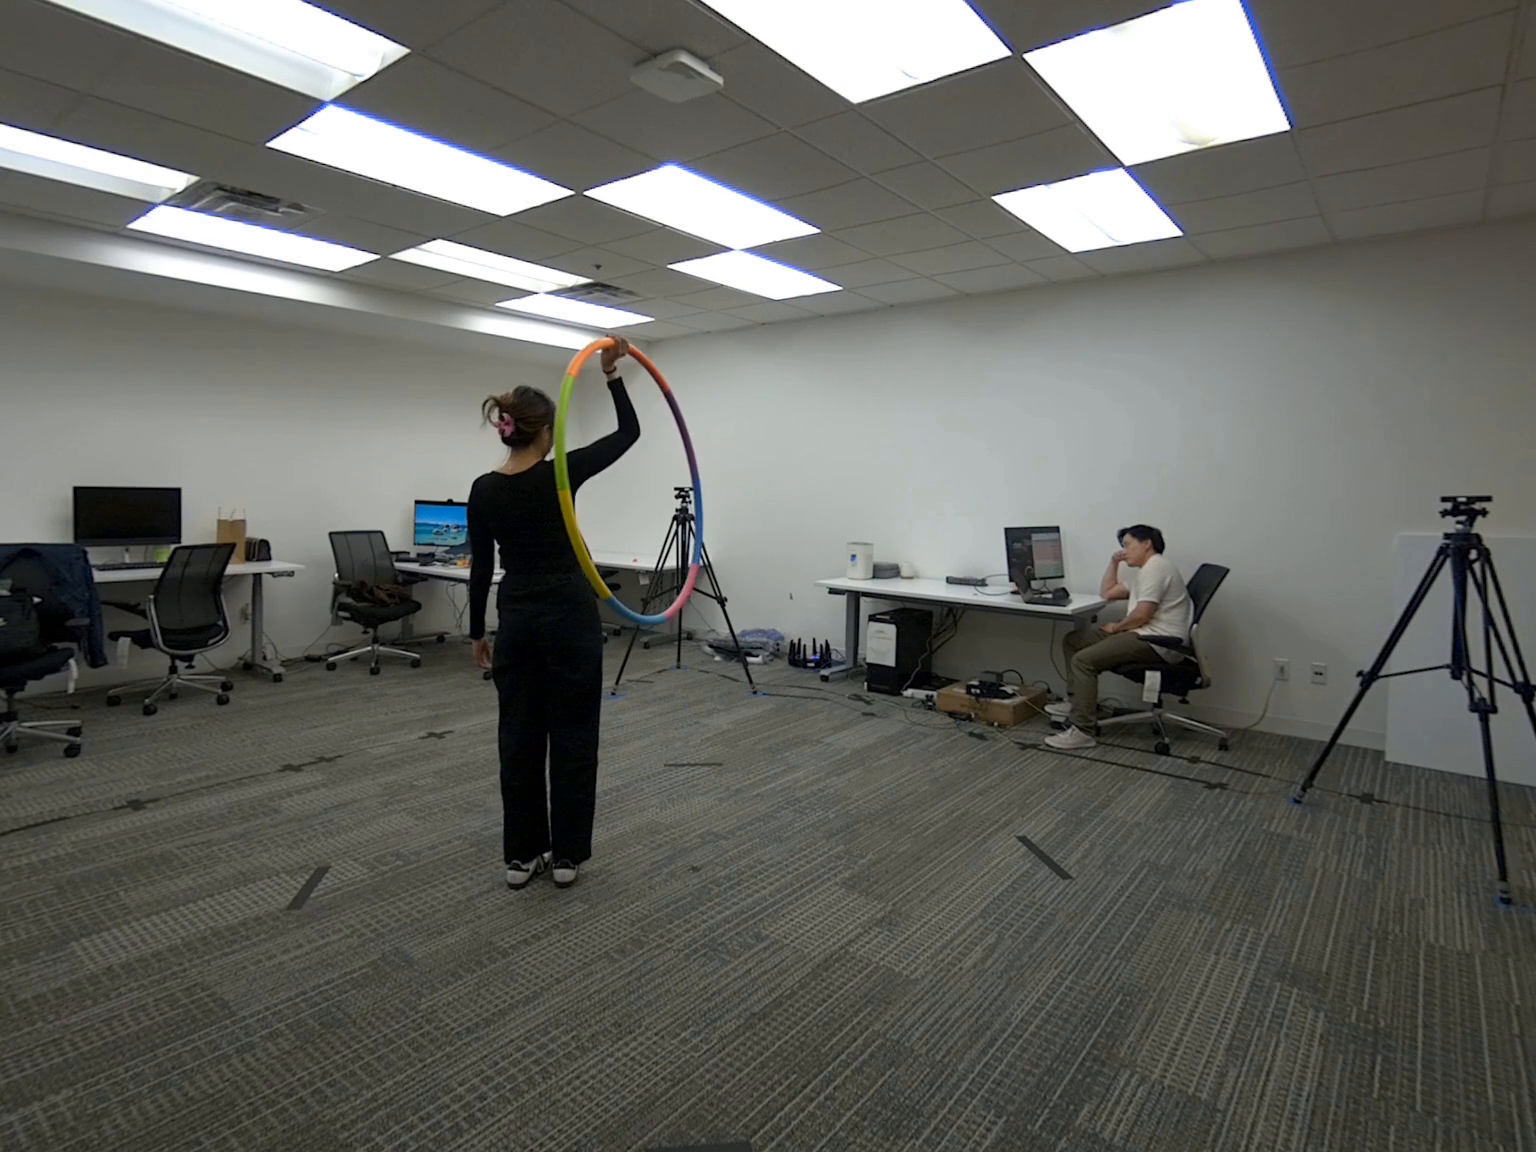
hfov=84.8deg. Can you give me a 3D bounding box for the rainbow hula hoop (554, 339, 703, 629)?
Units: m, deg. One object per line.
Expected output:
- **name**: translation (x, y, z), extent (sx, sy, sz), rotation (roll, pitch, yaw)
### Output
- **rainbow hula hoop**: translation (-0.462, -0.321, 2.938), extent (0.052, 0.986, 0.966), rotation (-8, 0, 21)
